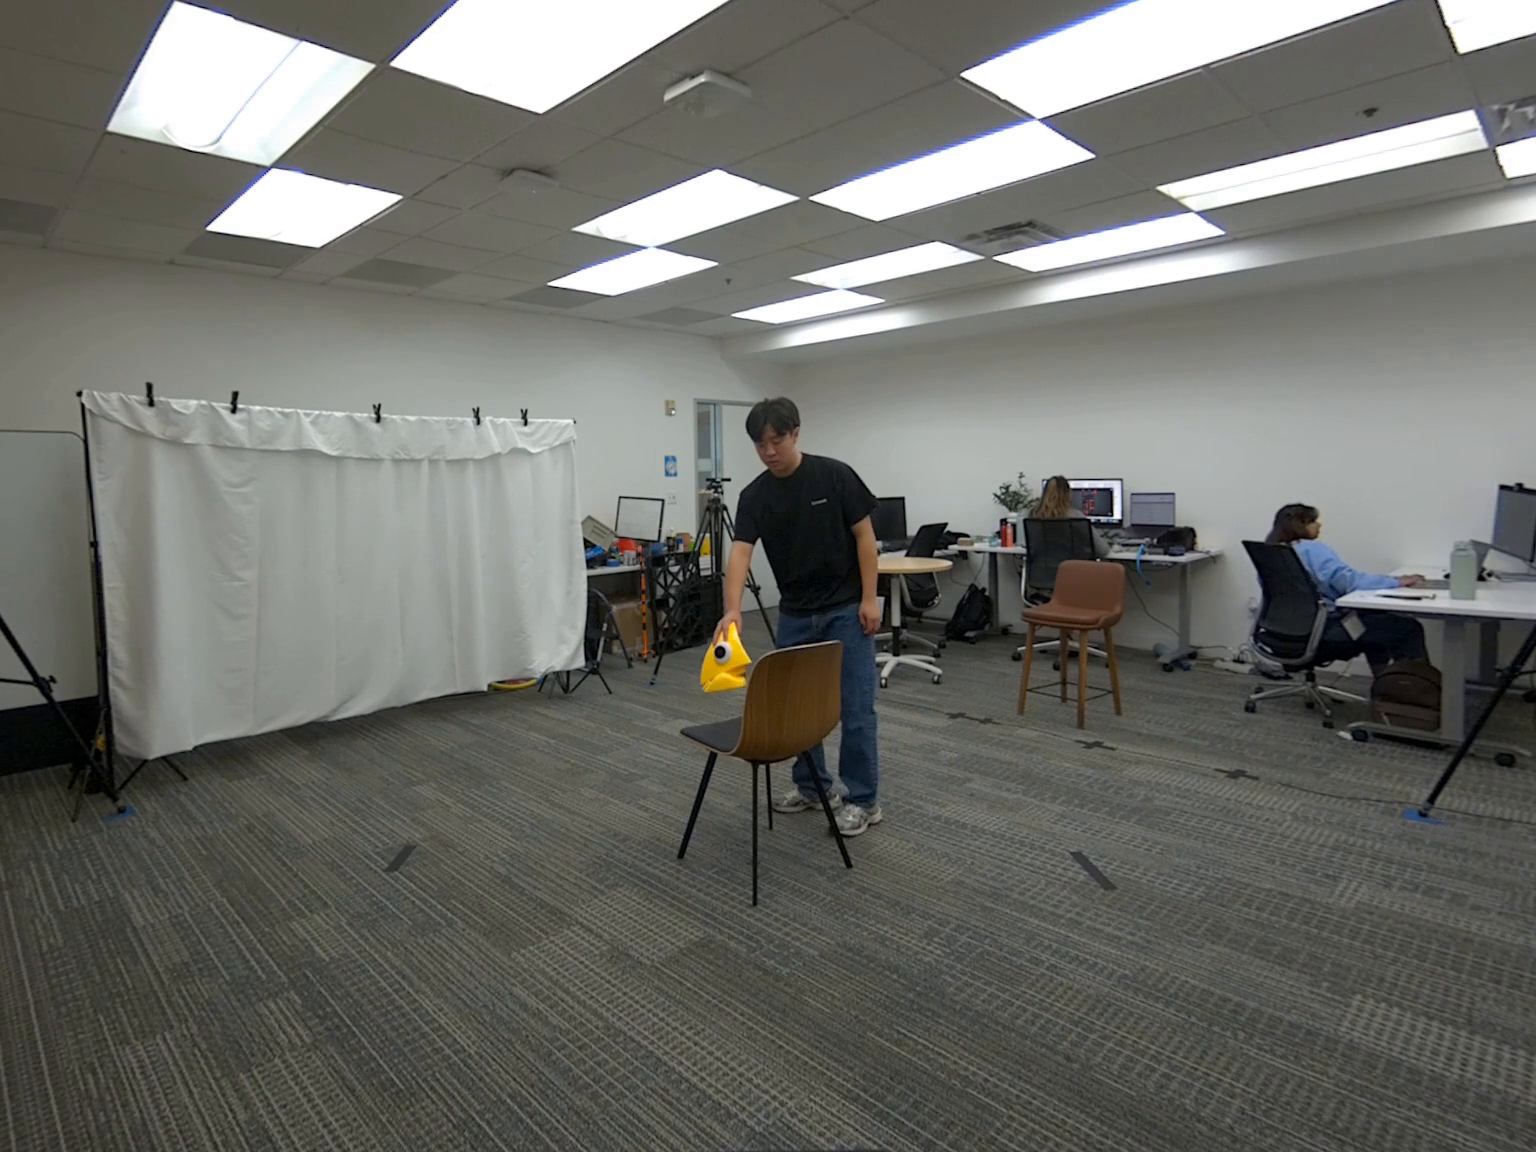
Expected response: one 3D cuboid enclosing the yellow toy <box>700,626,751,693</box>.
[{"bbox_3d":[-0.171,0.290,3.152,0.192,0.232,0.205,-7,-4,-7],"label":"yellow toy"}]
